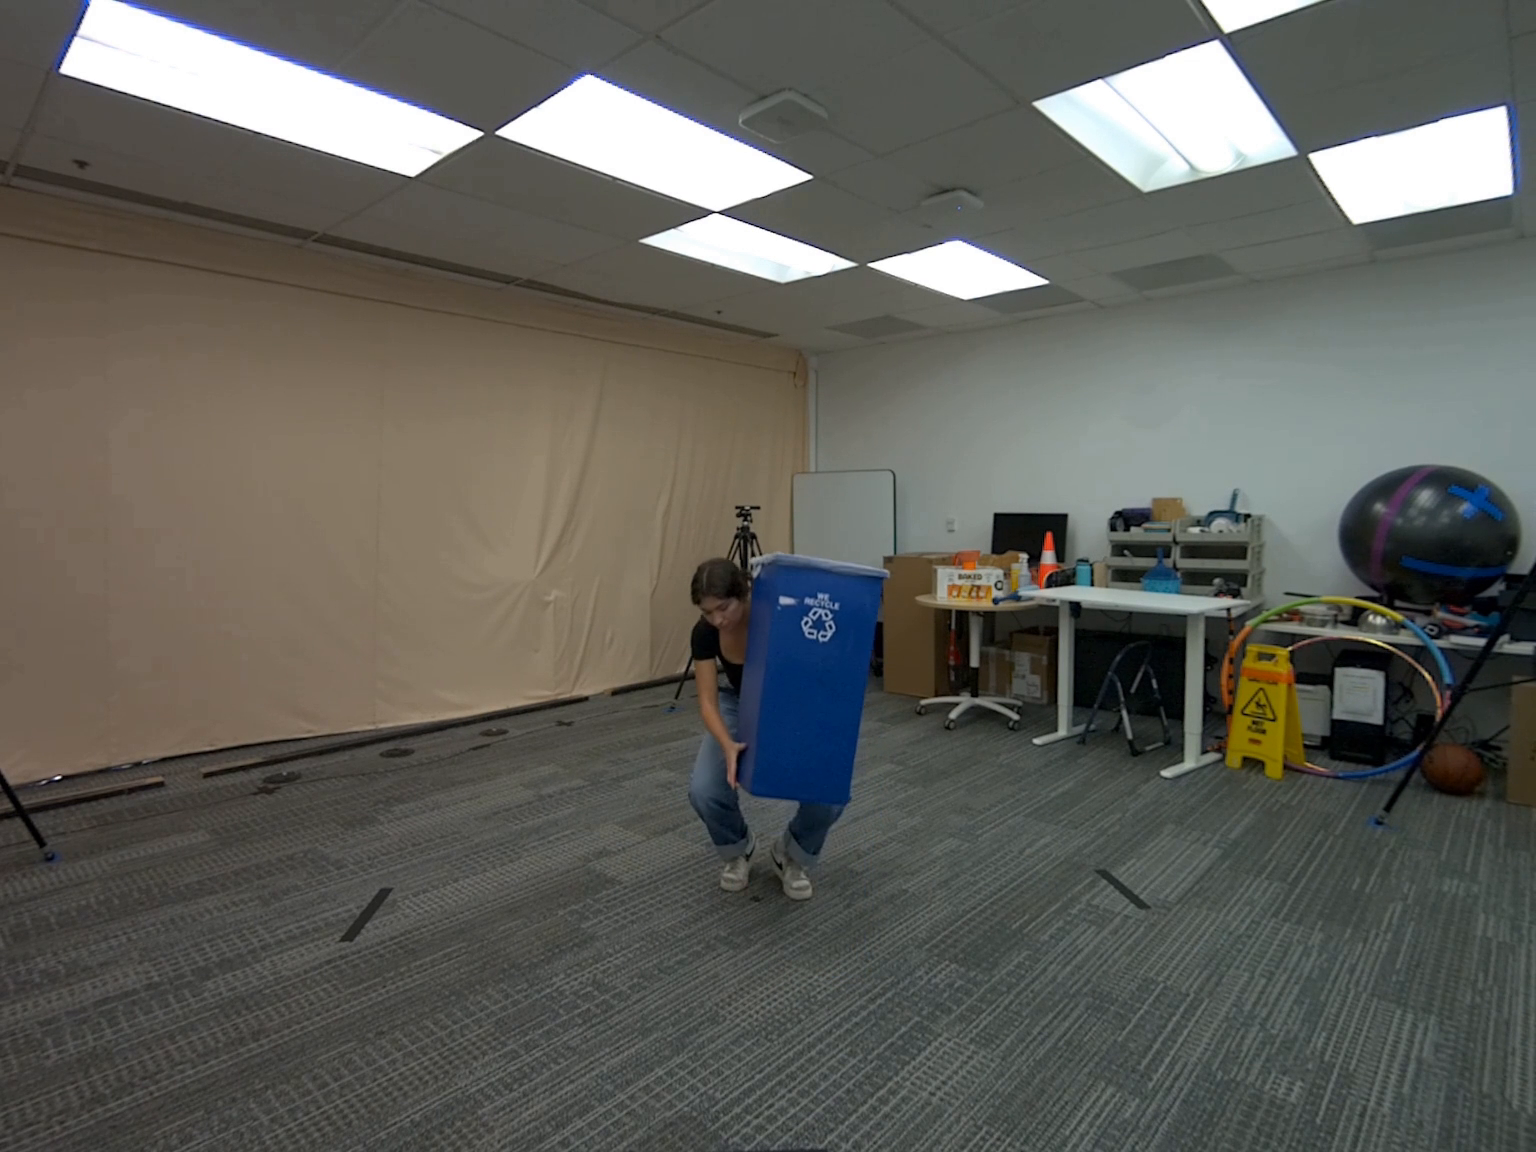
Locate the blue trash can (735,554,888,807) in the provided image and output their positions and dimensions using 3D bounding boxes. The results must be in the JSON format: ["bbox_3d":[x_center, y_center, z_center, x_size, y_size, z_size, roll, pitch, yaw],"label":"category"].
[{"bbox_3d":[0.118,0.313,2.647,0.369,0.715,0.382,8,-4,-12],"label":"blue trash can"}]
